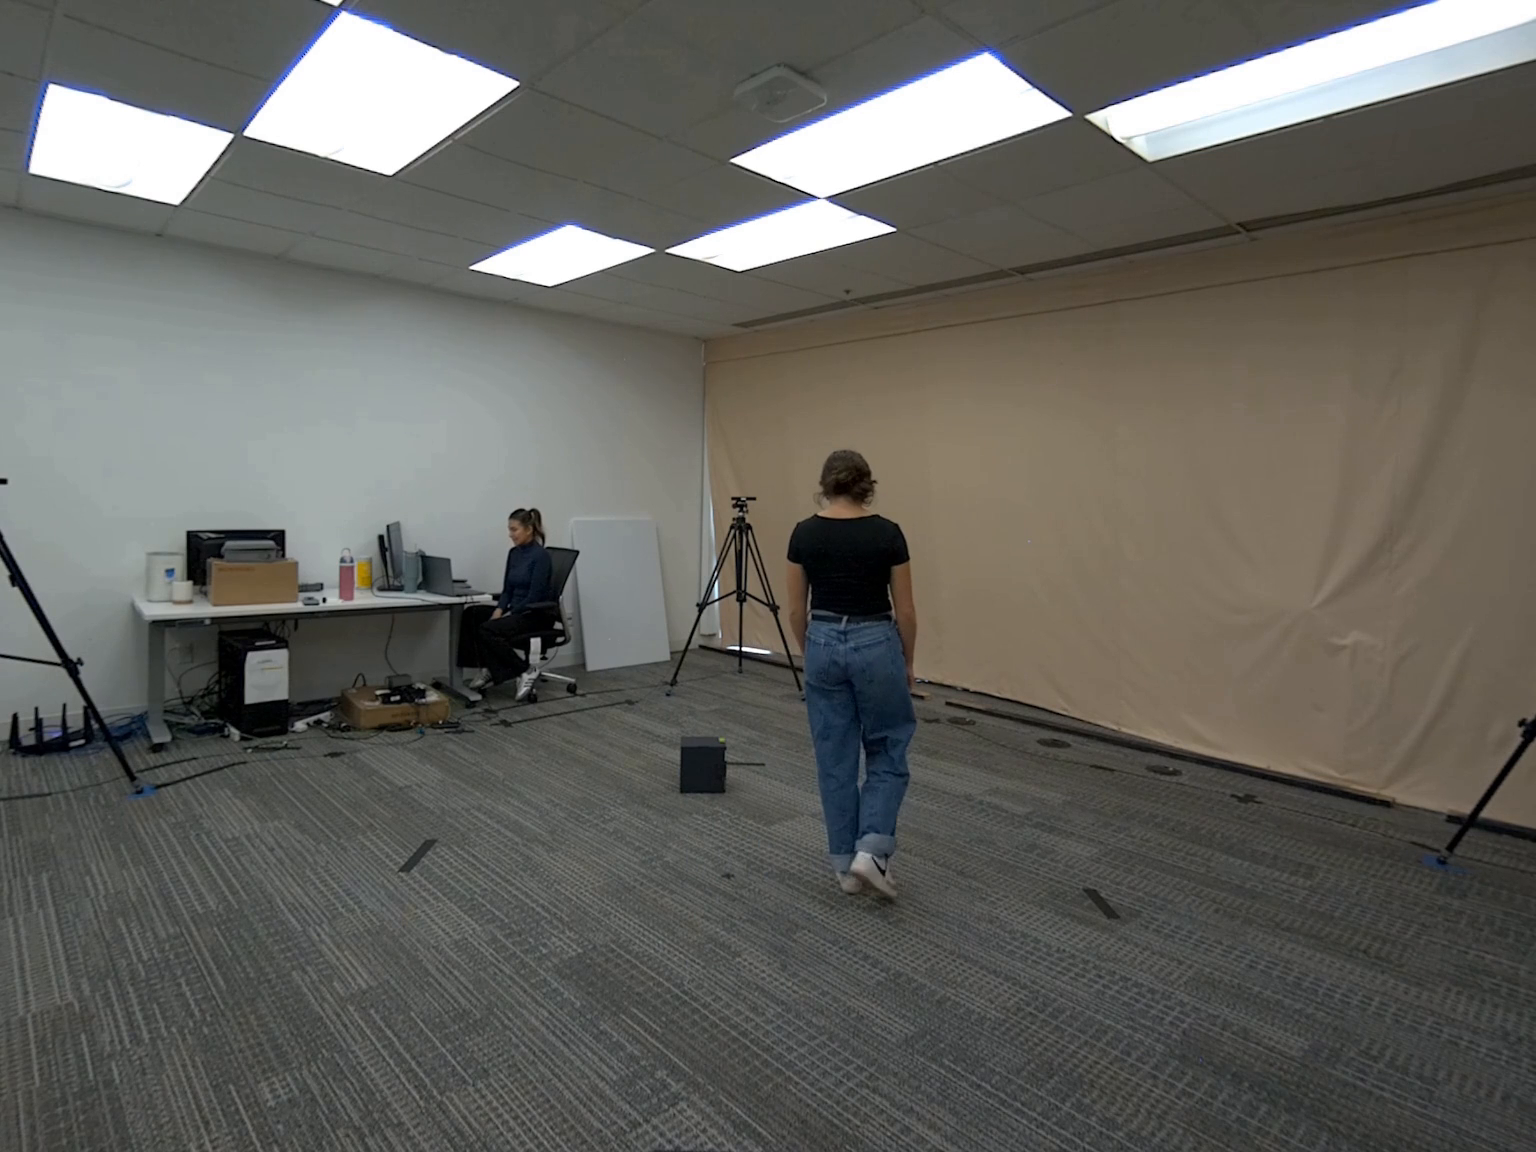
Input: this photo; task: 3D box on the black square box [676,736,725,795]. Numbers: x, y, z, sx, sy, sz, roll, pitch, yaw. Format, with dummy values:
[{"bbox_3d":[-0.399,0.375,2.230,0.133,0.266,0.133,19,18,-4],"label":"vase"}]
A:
[{"bbox_3d":[-0.326,0.900,4.048,0.216,0.227,0.157,2,5,-5],"label":"black square box"}]
